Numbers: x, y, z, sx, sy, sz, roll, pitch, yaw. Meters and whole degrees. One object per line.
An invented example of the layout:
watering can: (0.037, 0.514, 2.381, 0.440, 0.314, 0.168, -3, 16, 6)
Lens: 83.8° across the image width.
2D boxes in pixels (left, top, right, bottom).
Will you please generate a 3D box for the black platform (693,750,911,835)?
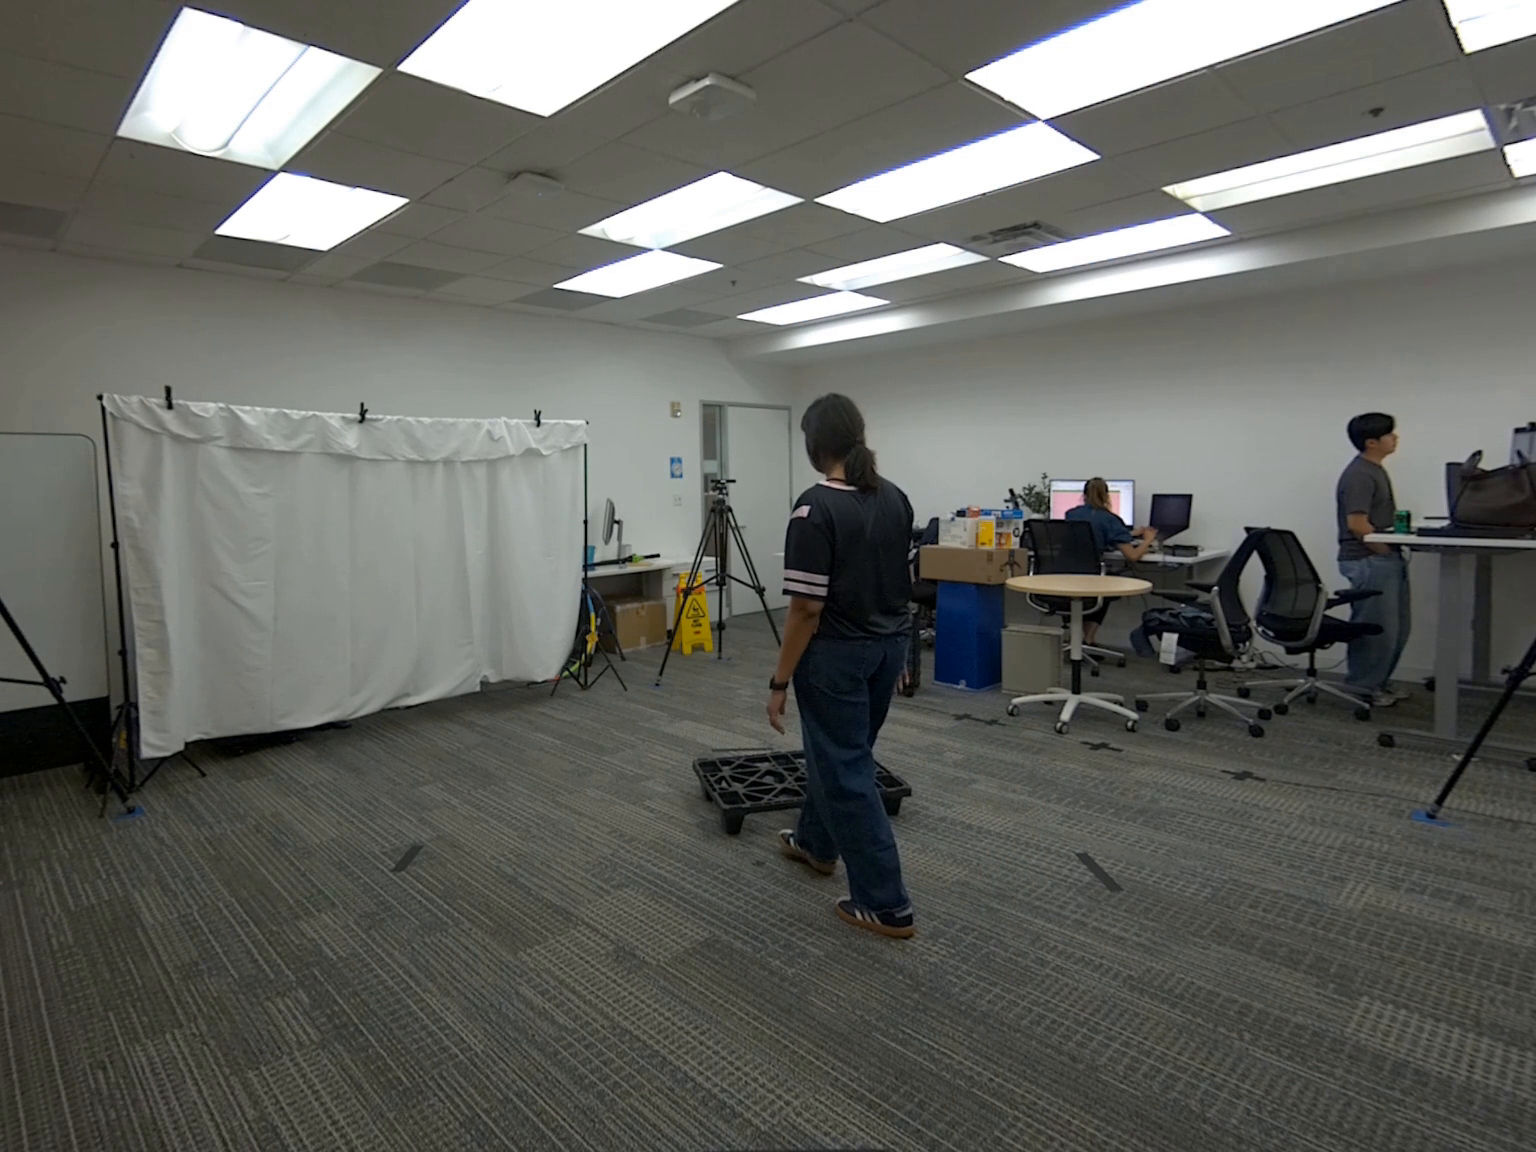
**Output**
black platform: (0.123, 0.914, 3.678, 0.795, 0.143, 0.615, -2, 6, -14)
